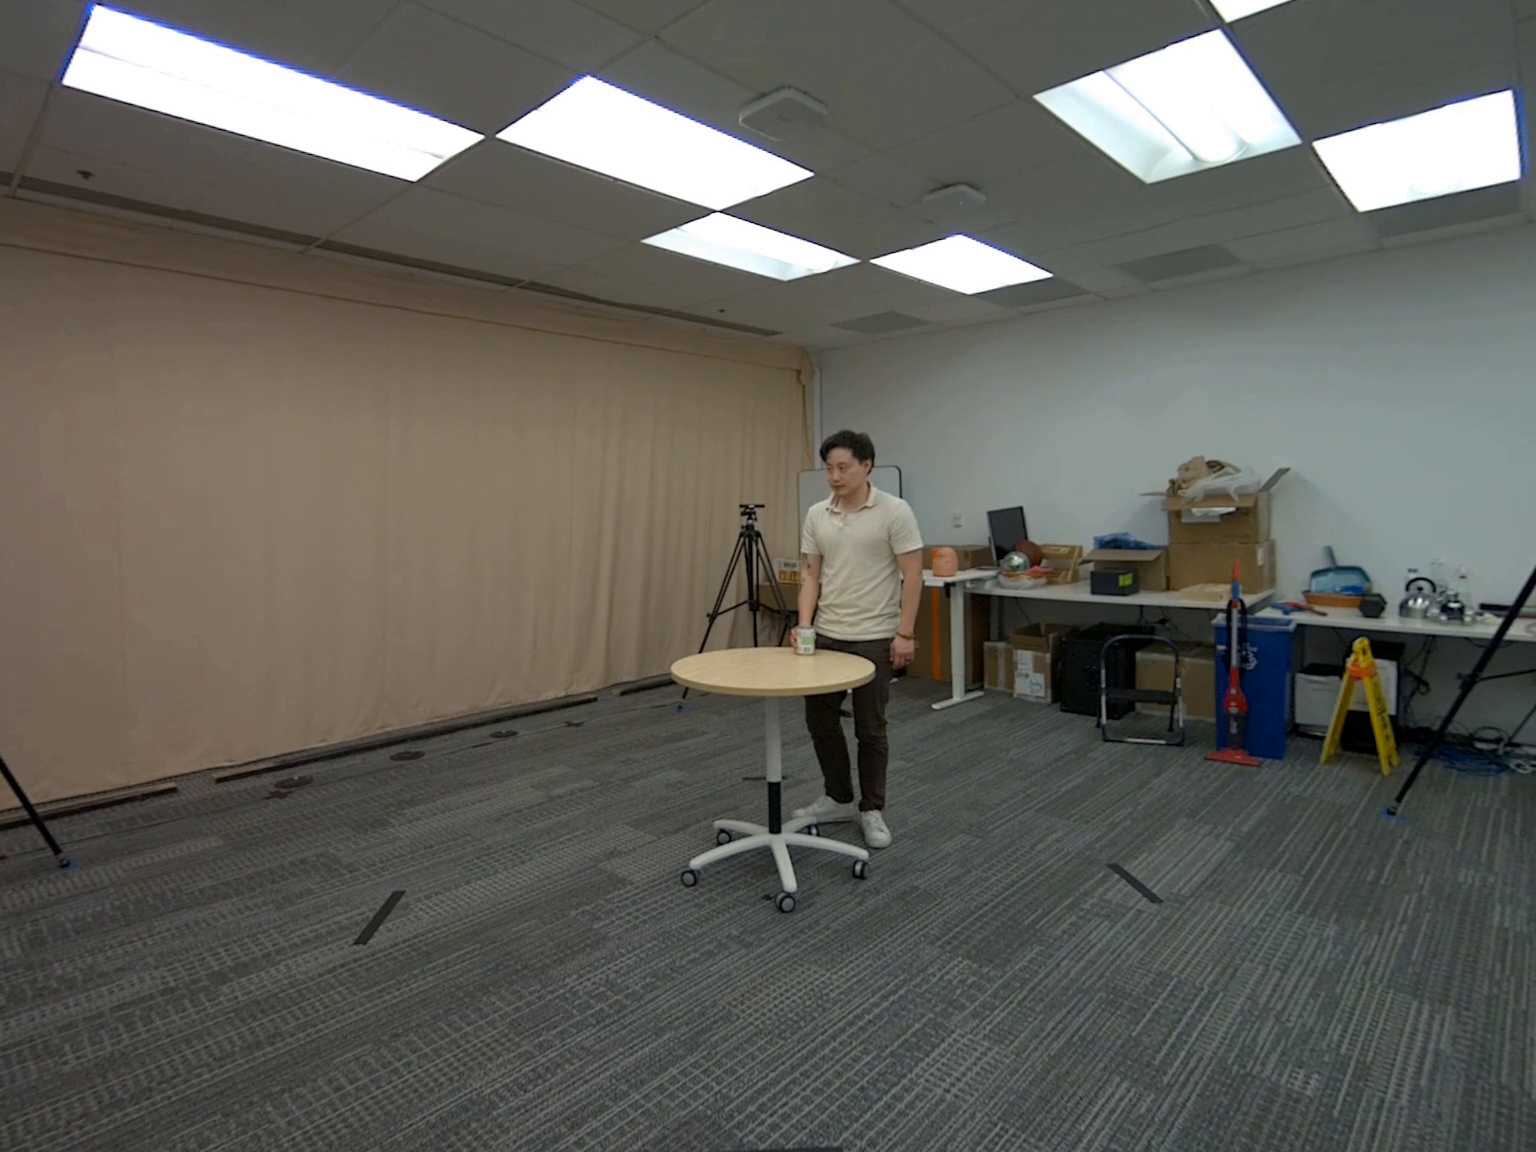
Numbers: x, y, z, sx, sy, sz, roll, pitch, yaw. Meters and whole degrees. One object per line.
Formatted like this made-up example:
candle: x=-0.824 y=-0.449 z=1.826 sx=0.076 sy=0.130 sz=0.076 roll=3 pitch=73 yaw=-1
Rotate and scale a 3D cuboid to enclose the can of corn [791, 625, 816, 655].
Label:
can of corn: x=0.143 y=0.266 z=3.411 sx=0.074 sy=0.111 sz=0.074 roll=2 pitch=-2 yaw=-2
